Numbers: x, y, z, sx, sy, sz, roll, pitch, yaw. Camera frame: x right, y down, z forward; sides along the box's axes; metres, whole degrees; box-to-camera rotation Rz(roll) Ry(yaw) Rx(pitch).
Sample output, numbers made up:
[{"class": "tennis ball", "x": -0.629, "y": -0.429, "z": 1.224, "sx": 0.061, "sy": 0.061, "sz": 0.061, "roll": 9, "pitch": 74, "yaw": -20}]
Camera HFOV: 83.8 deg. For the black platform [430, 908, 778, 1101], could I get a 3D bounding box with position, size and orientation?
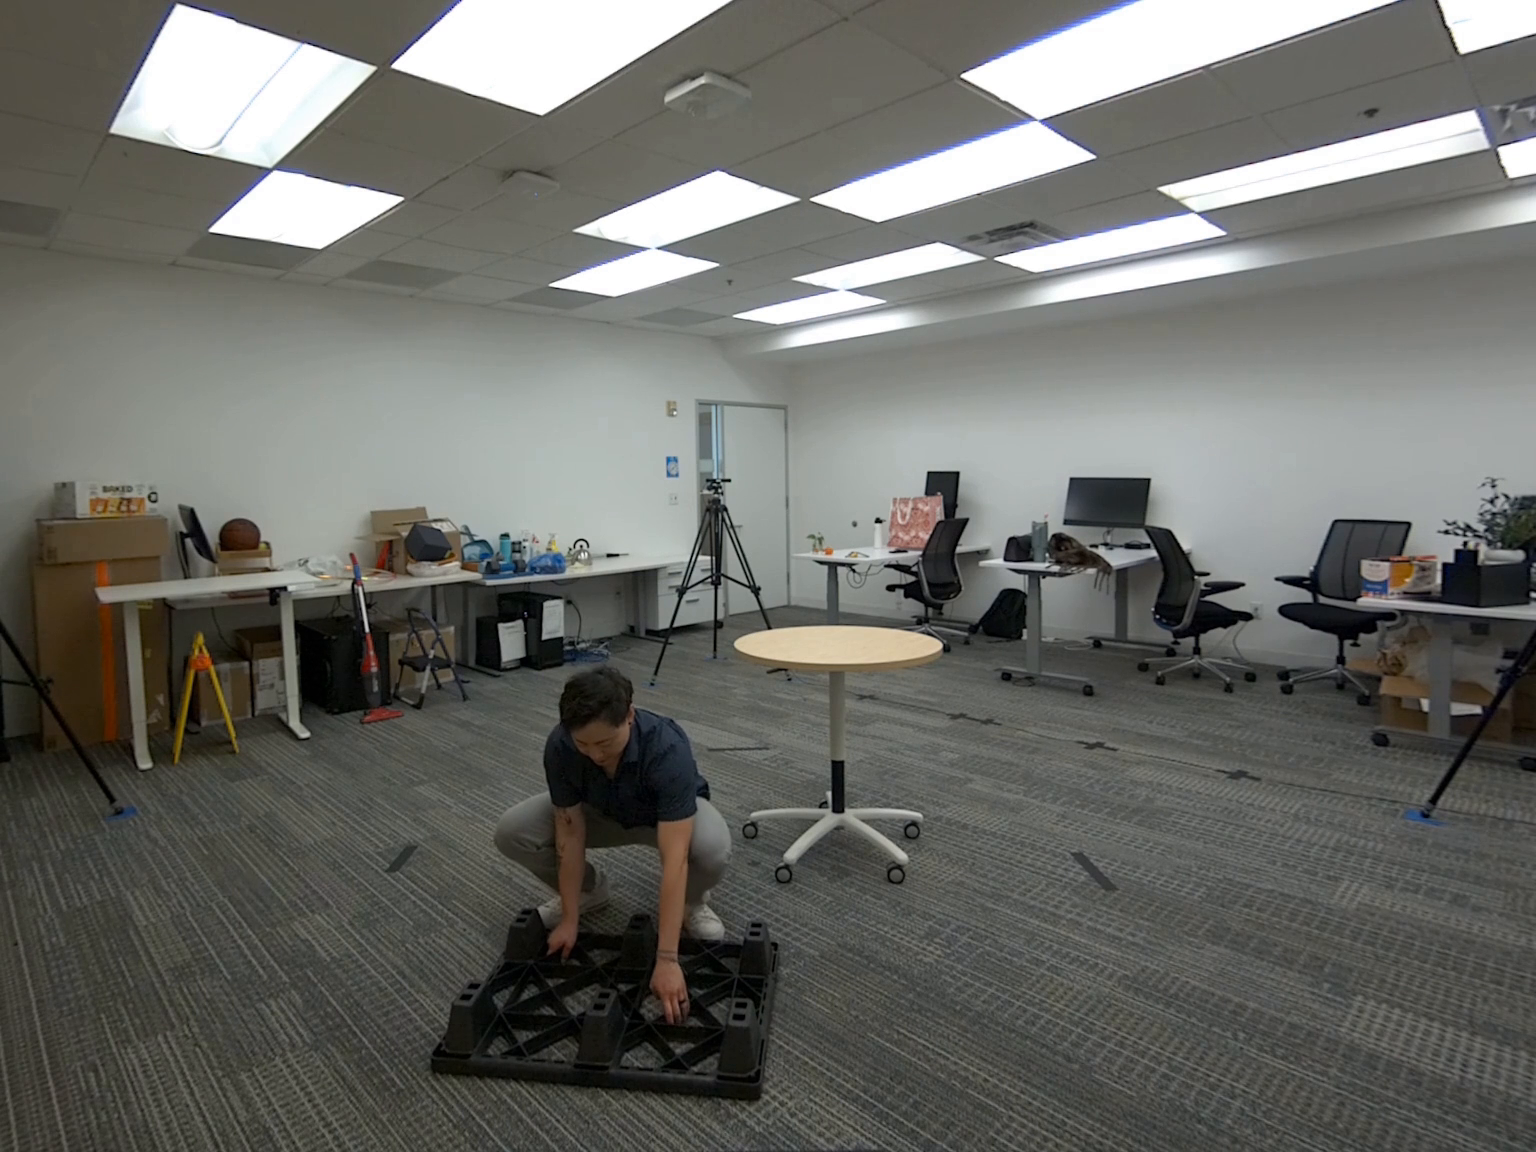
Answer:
[{"class": "black platform", "x": -0.387, "y": 1.083, "z": 2.262, "sx": 0.812, "sy": 0.143, "sz": 0.603, "roll": 0, "pitch": 6, "yaw": 7}]
